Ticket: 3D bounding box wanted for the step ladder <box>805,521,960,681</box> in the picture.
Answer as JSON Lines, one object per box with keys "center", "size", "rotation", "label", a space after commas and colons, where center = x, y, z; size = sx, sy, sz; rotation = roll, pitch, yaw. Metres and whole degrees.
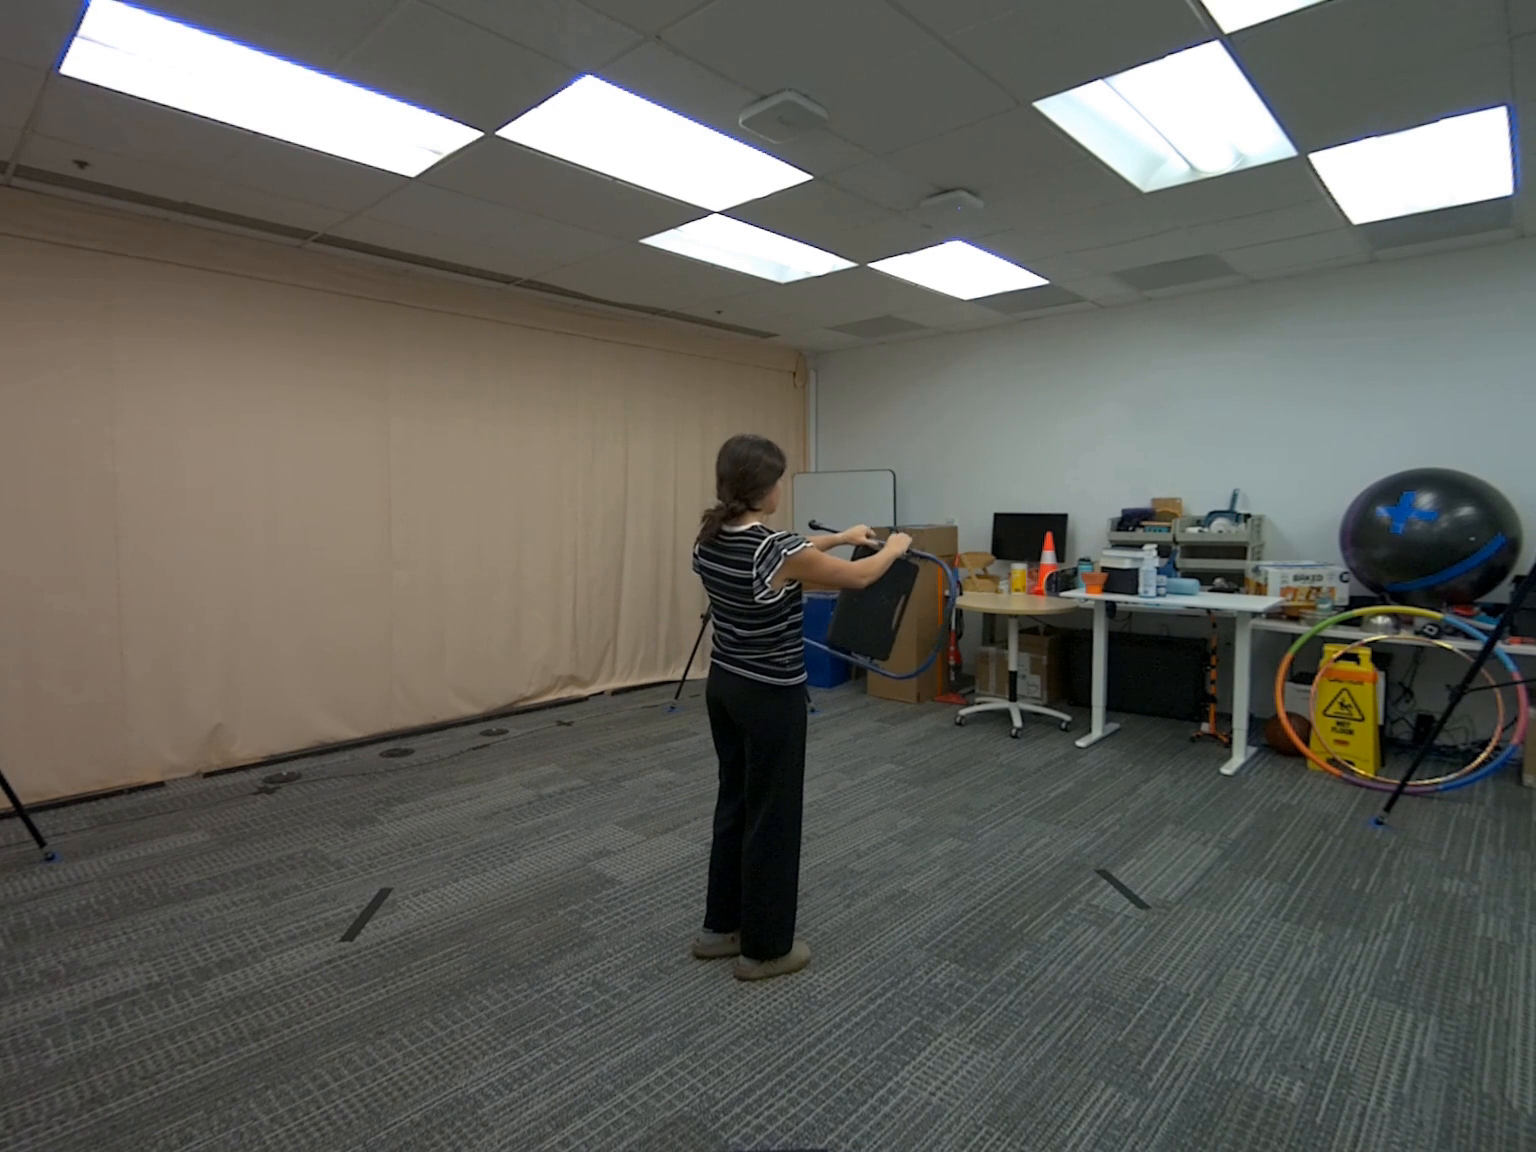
{"center": [0.345, 0.097, 2.782], "size": [0.340, 0.430, 0.622], "rotation": [16, 2, -24], "label": "step ladder"}
